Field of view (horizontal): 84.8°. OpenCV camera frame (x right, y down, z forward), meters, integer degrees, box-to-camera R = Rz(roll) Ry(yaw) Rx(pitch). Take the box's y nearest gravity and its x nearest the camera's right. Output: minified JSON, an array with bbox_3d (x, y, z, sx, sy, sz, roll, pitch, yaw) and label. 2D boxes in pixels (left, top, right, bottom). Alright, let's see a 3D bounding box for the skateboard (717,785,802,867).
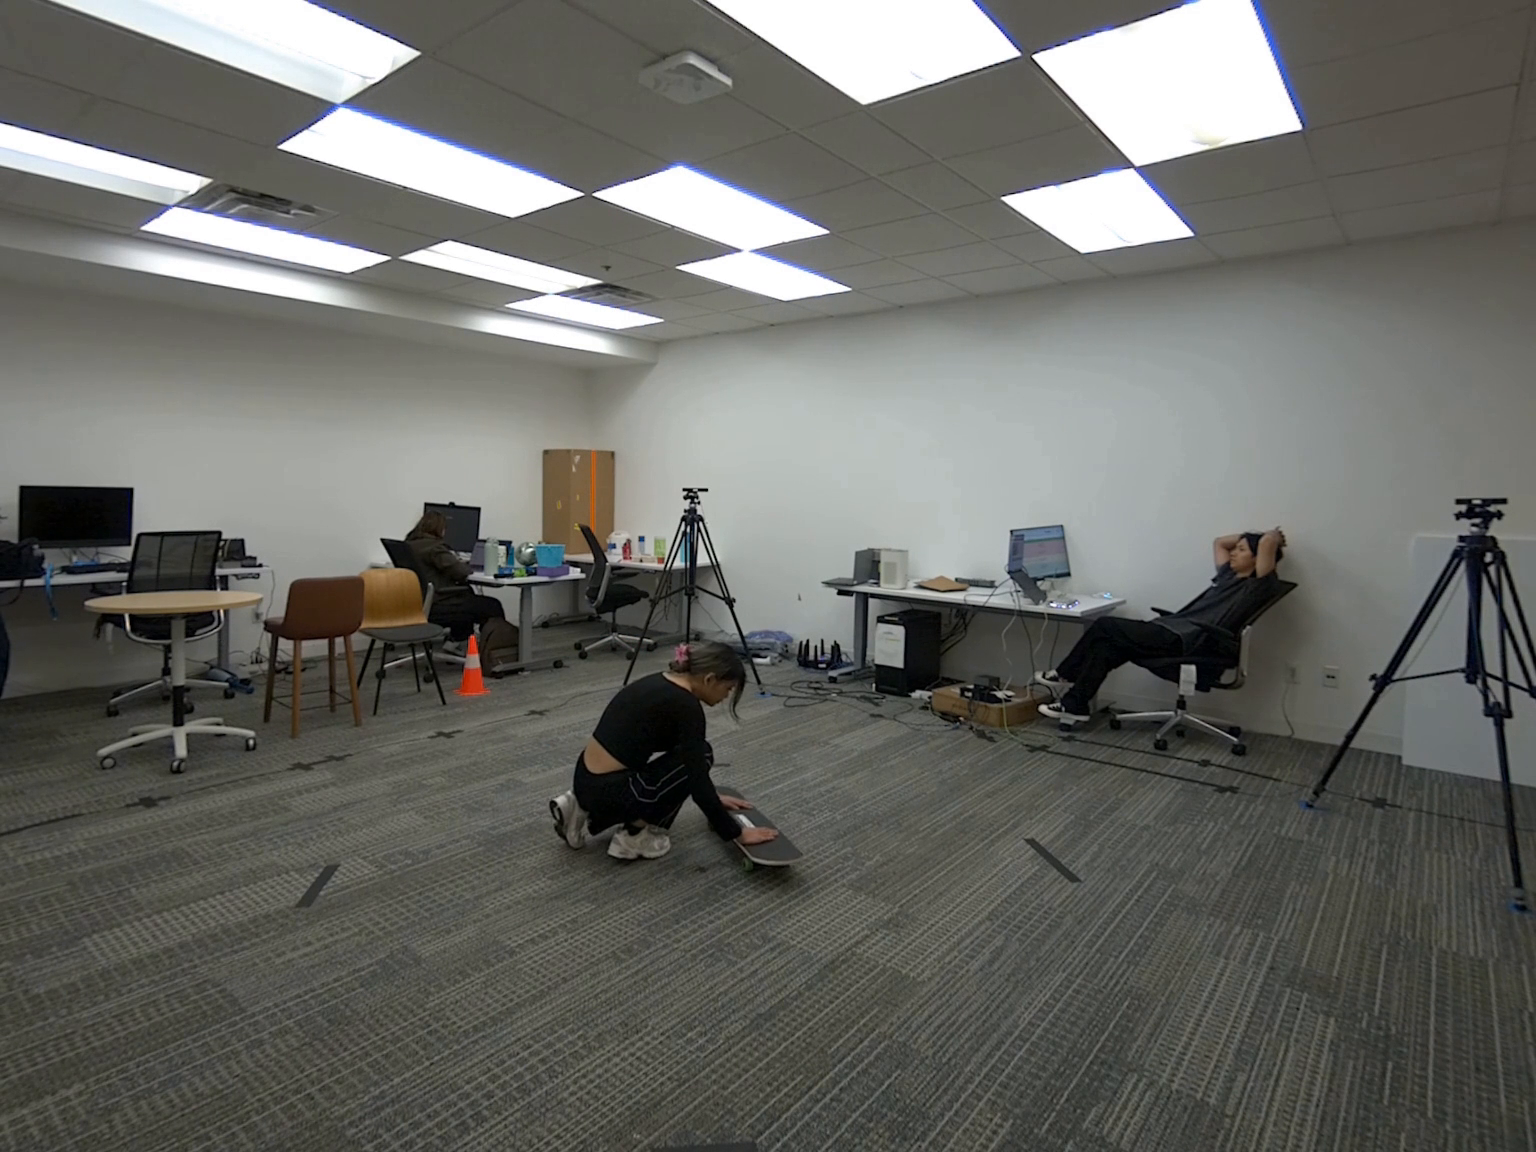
[{"bbox_3d":[-0.094,0.998,3.310,0.189,0.110,0.805,-2,7,-22],"label":"skateboard"}]
